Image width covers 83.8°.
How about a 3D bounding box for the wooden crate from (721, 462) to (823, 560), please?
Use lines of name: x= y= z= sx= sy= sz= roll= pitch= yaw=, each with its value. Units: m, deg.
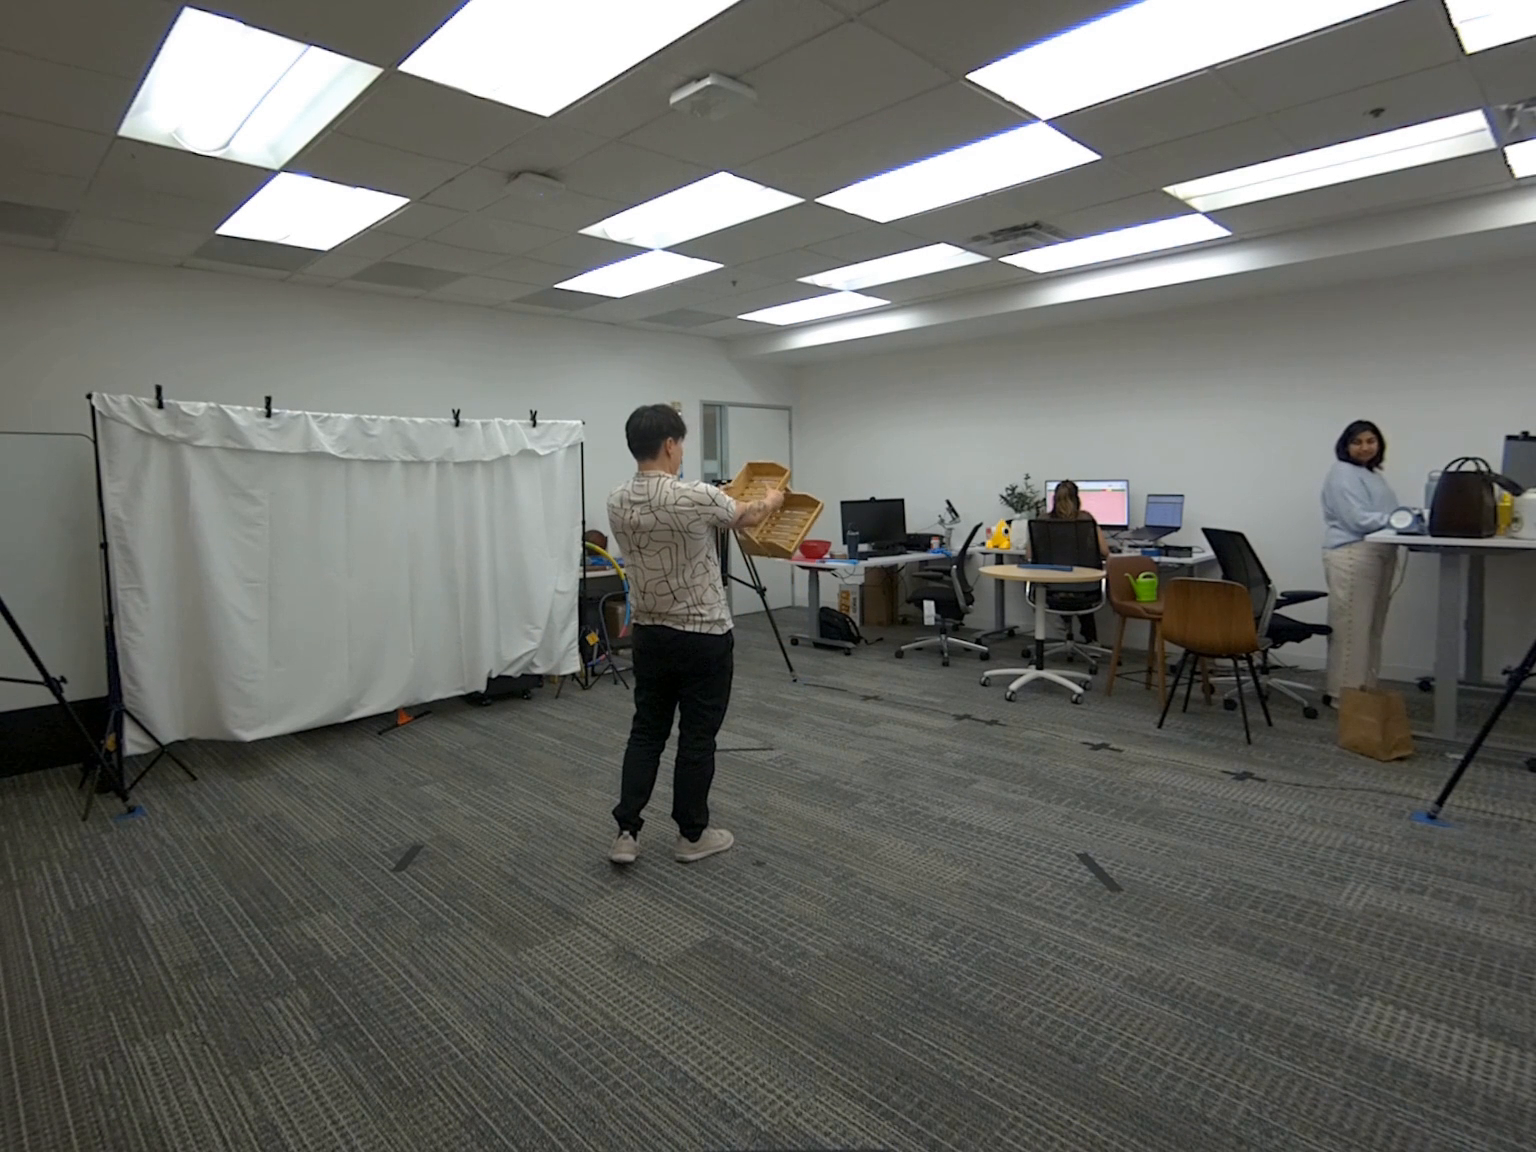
wooden crate: x=0.009 y=-0.278 z=3.519 sx=0.311 sy=0.264 sz=0.326 roll=5 pitch=48 yaw=37
